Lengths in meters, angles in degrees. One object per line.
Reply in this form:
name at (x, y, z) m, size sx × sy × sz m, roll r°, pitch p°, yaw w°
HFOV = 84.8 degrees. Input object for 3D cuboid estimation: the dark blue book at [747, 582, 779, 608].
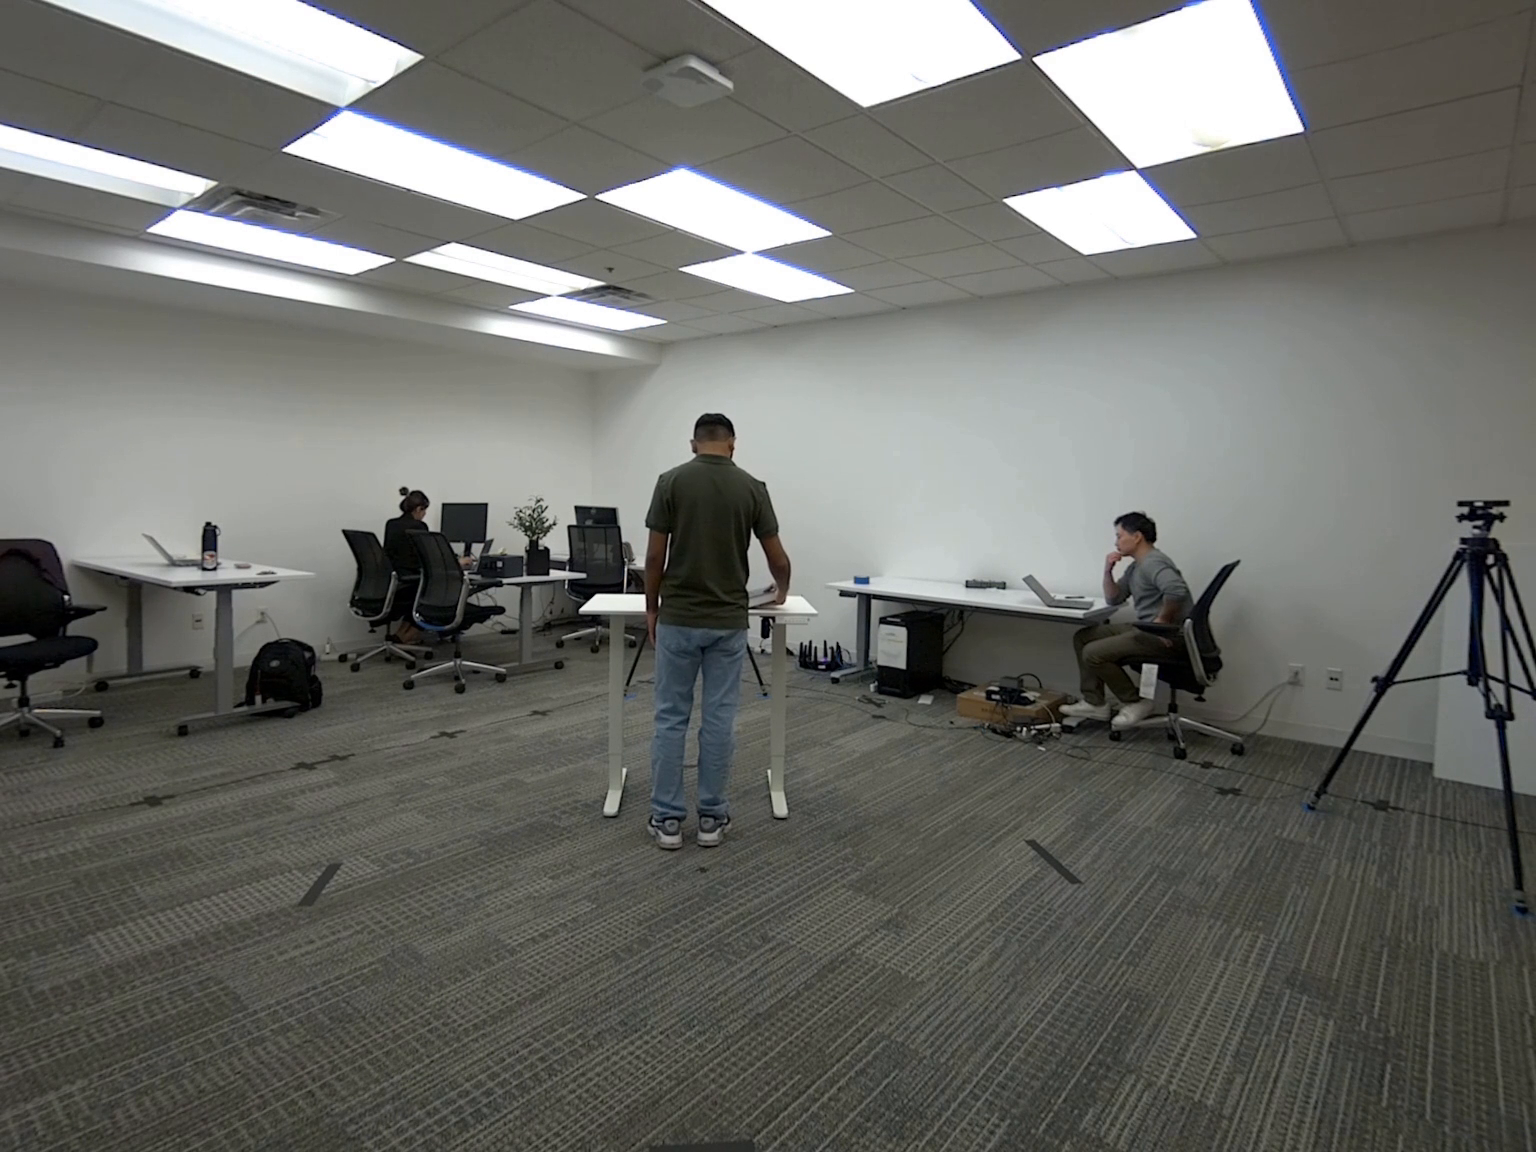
dark blue book at (-0.054, 0.084, 3.775) m, size 0.164 × 0.045 × 0.245 m, roll -12°, pitch 6°, yaw 3°
